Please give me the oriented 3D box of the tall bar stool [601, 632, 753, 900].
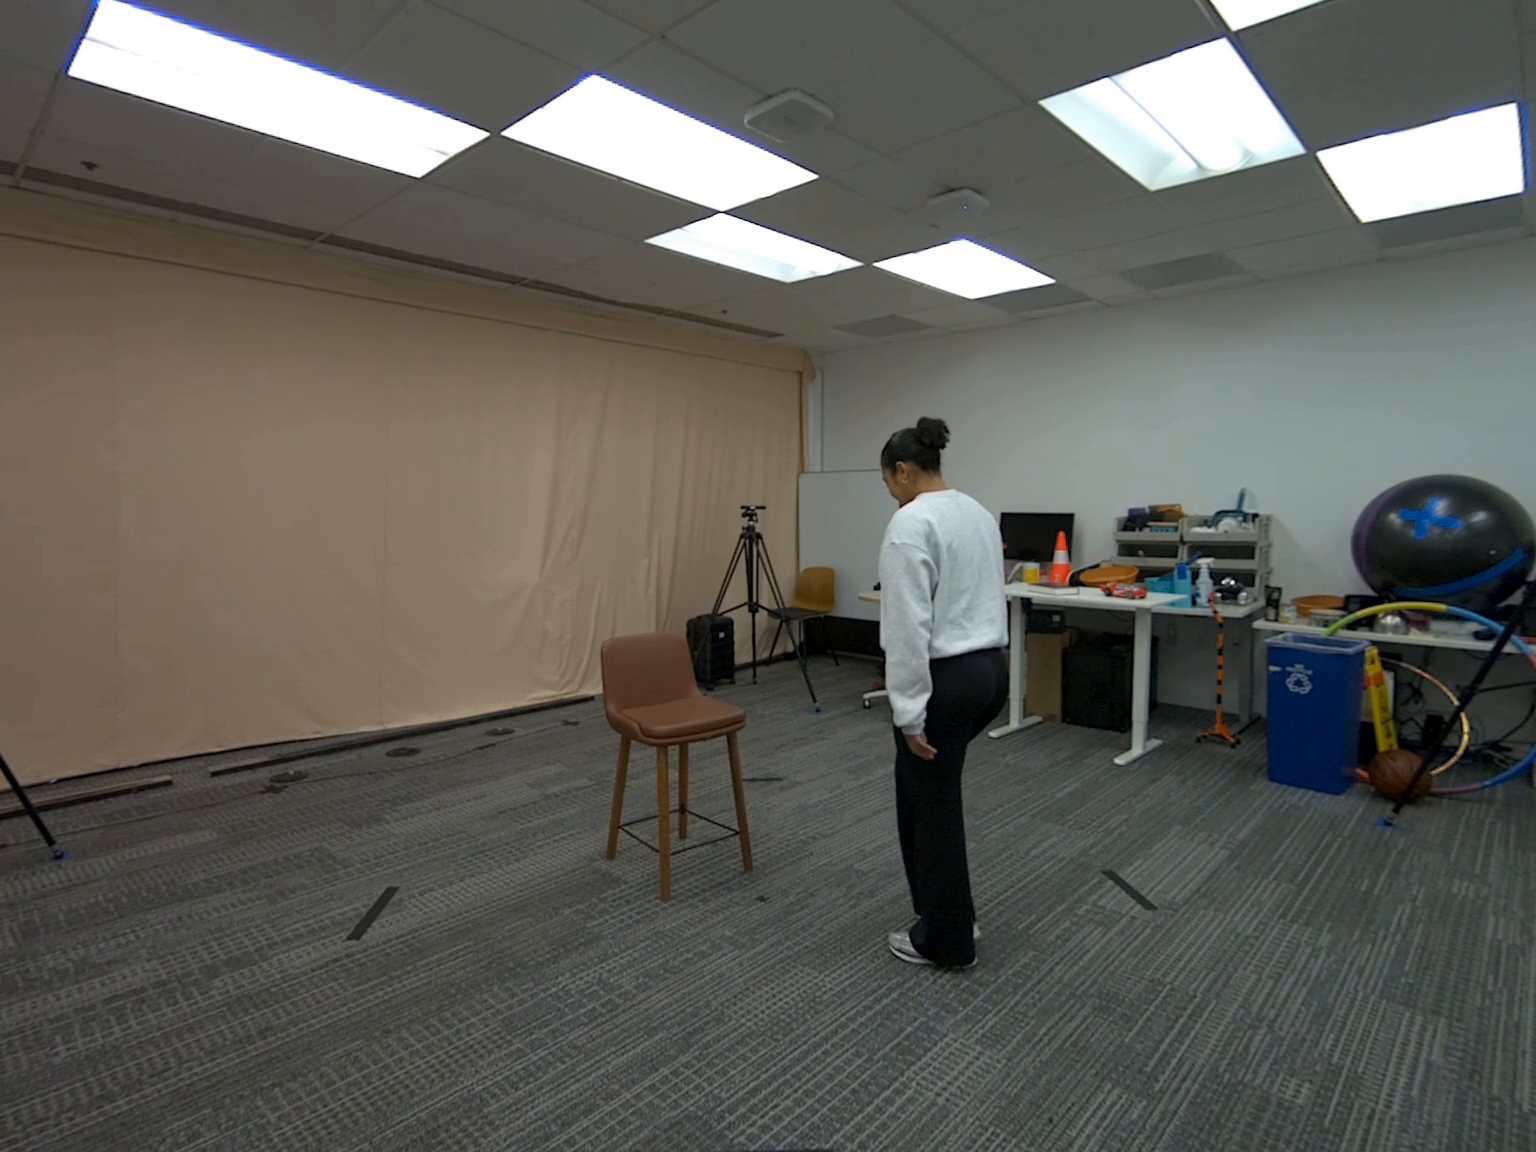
[{"bbox_3d":[-0.364,0.689,3.252,0.443,0.889,0.482,-3,2,-38],"label":"tall bar stool"}]
